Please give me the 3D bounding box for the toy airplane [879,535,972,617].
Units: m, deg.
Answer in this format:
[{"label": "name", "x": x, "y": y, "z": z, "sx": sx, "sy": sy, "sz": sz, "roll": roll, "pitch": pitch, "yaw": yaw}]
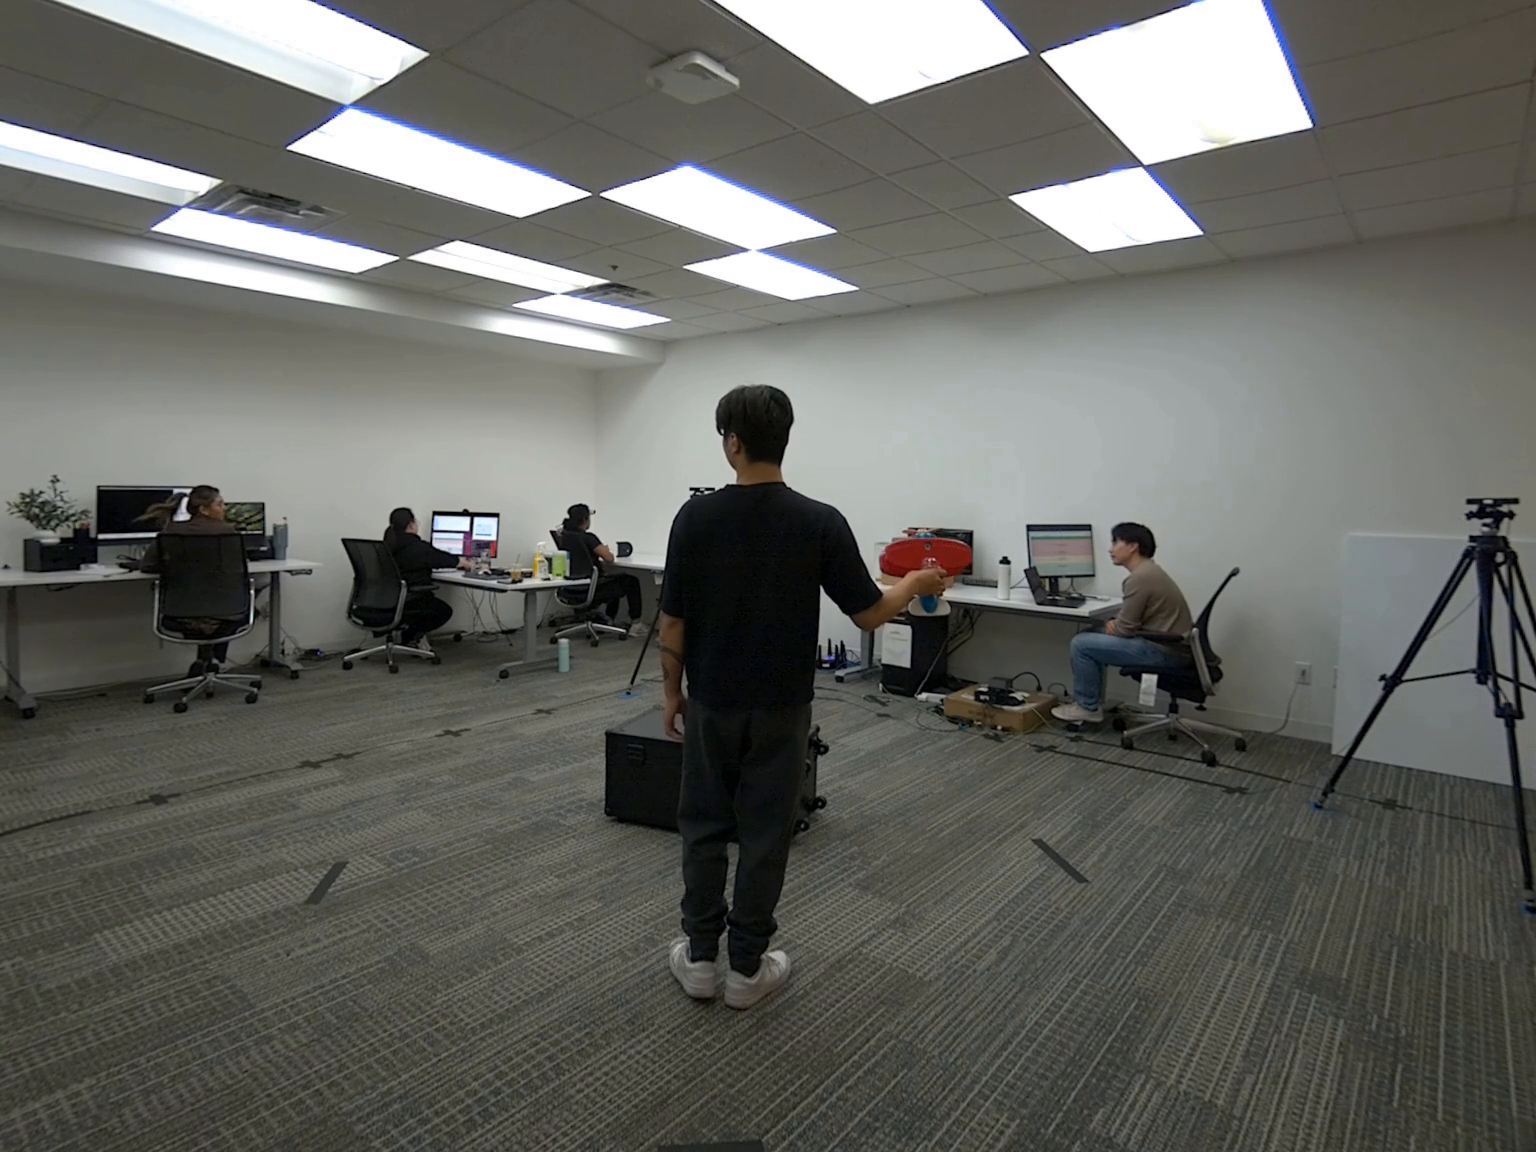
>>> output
[{"label": "toy airplane", "x": 0.480, "y": -0.018, "z": 2.529, "sx": 0.249, "sy": 0.268, "sz": 0.152, "roll": -26, "pitch": -28, "yaw": -17}]
